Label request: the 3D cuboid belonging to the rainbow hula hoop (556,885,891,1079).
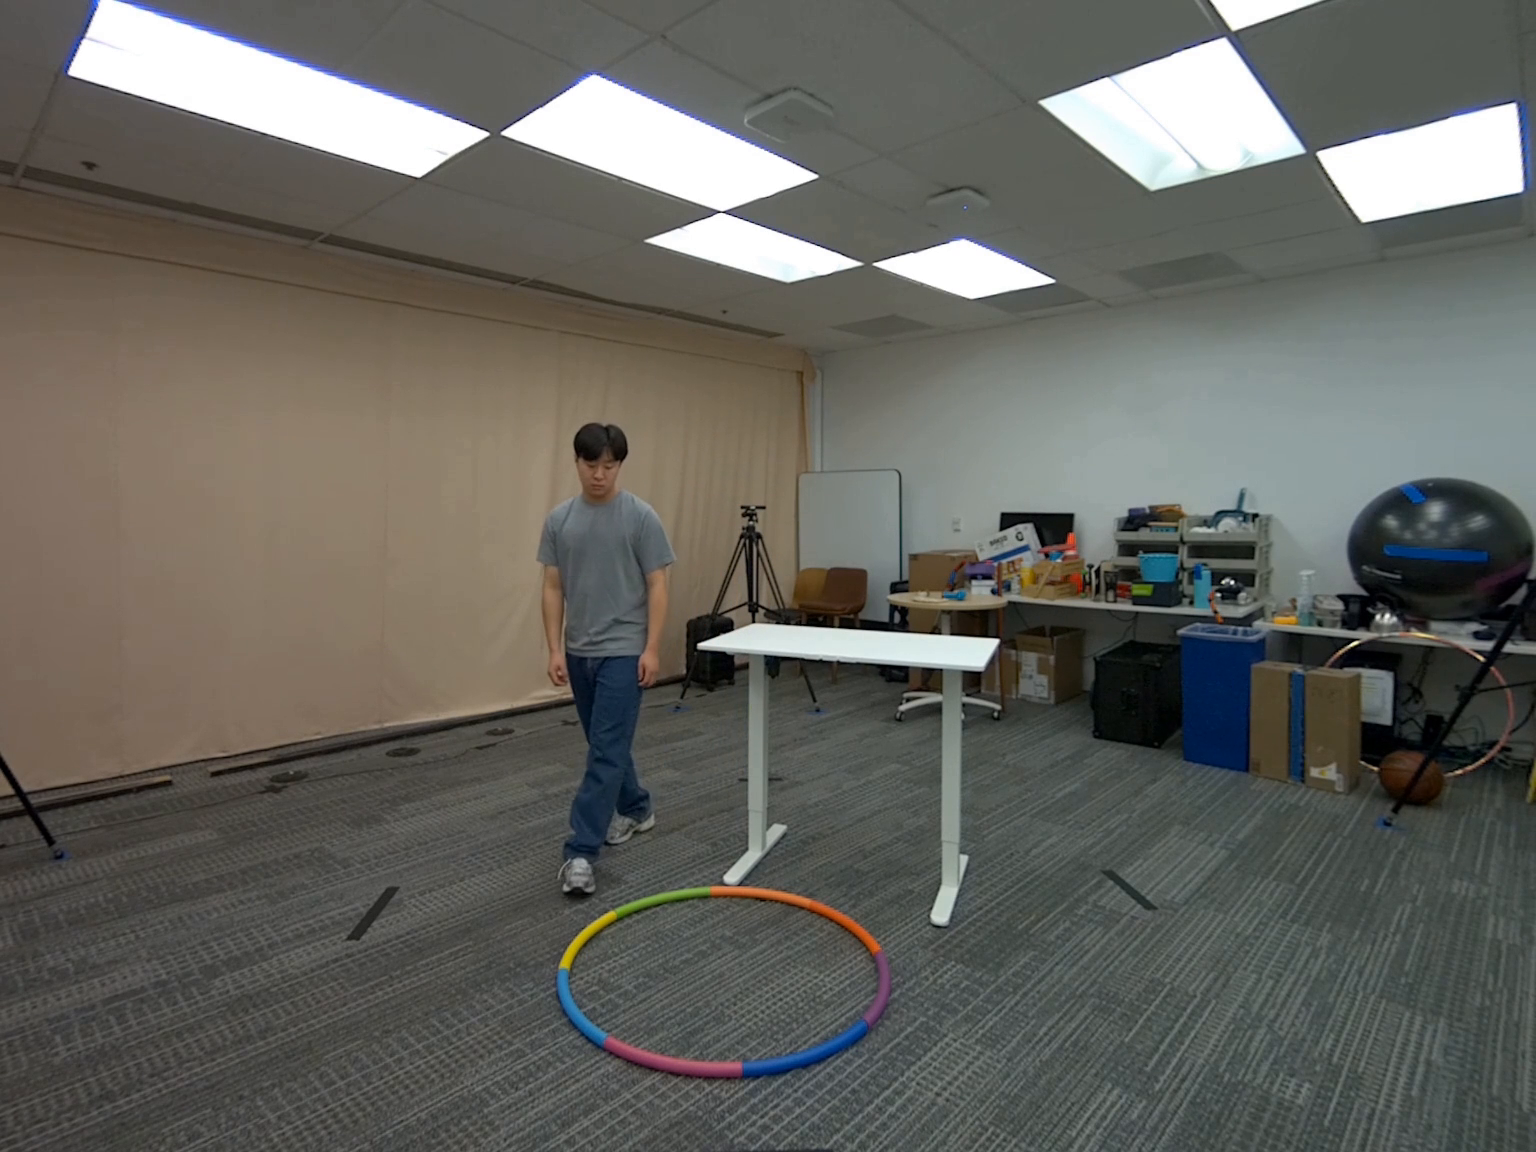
[{"bbox_3d":[-0.131,1.154,2.537,0.978,0.035,0.982,0,4,-2],"label":"rainbow hula hoop"}]
